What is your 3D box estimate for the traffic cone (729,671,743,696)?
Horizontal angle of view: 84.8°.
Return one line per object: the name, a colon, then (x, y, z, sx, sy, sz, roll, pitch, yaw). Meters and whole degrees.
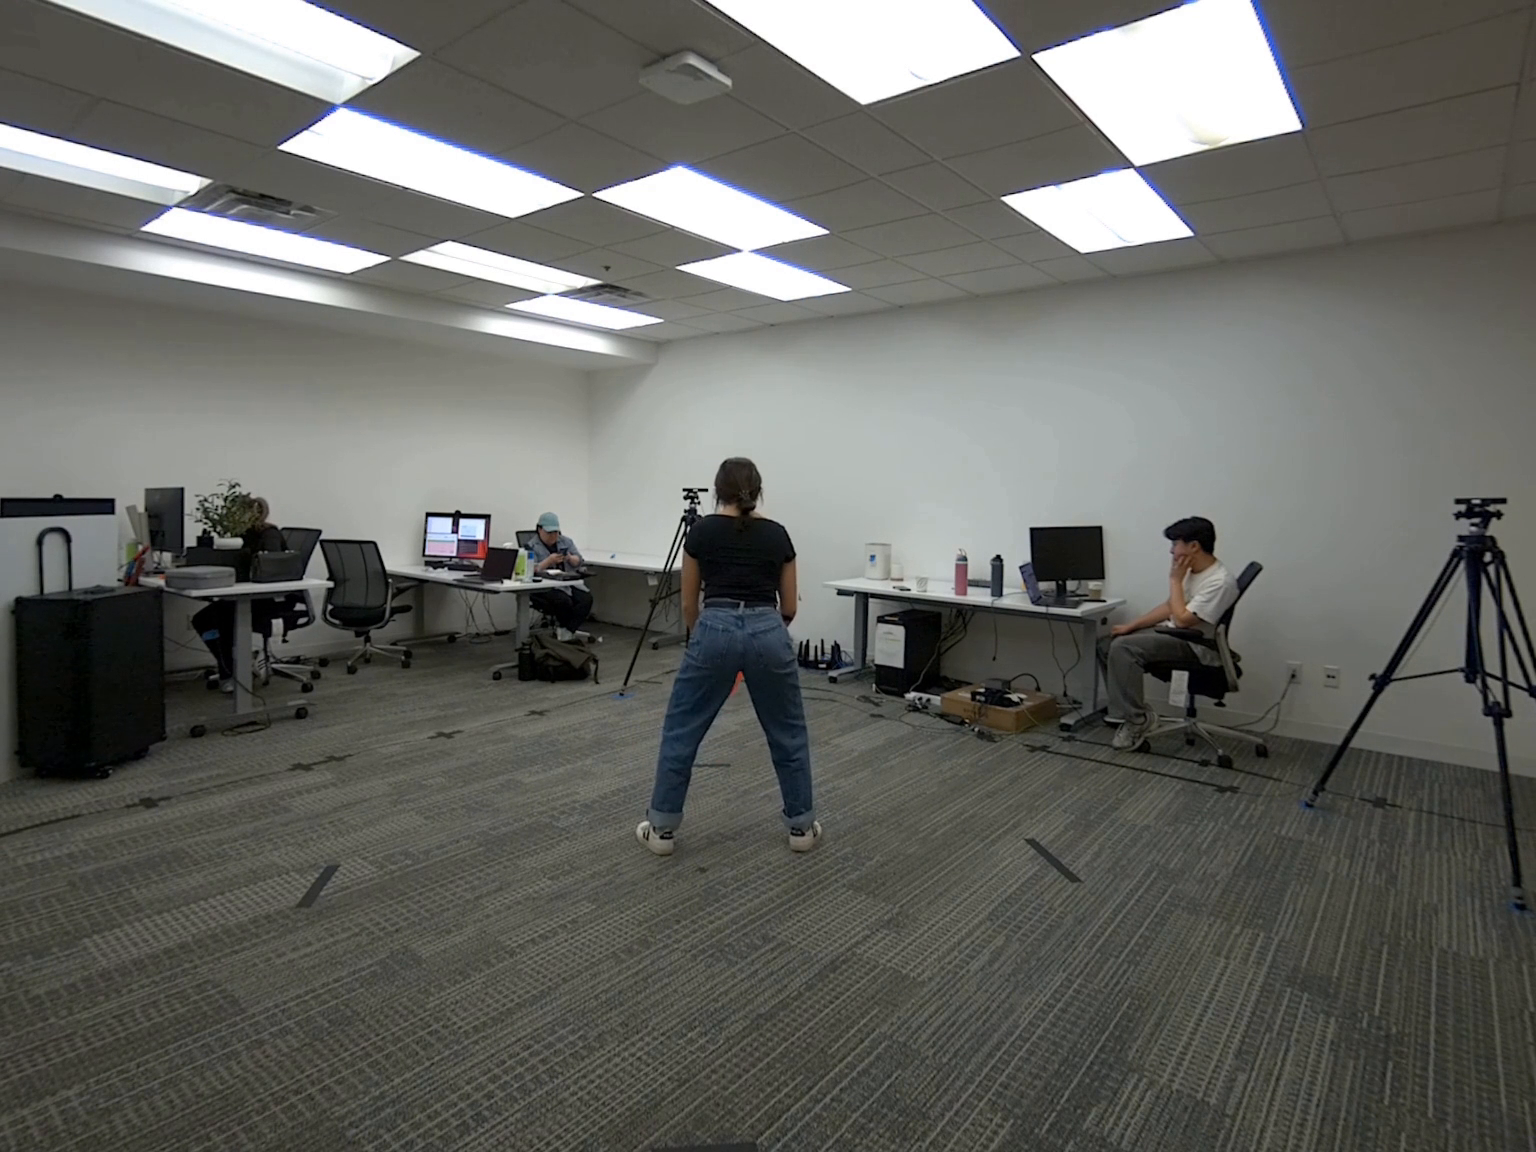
traffic cone: (-0.148, 0.413, 3.685, 0.202, 0.211, 0.375, 2, -35, -6)
